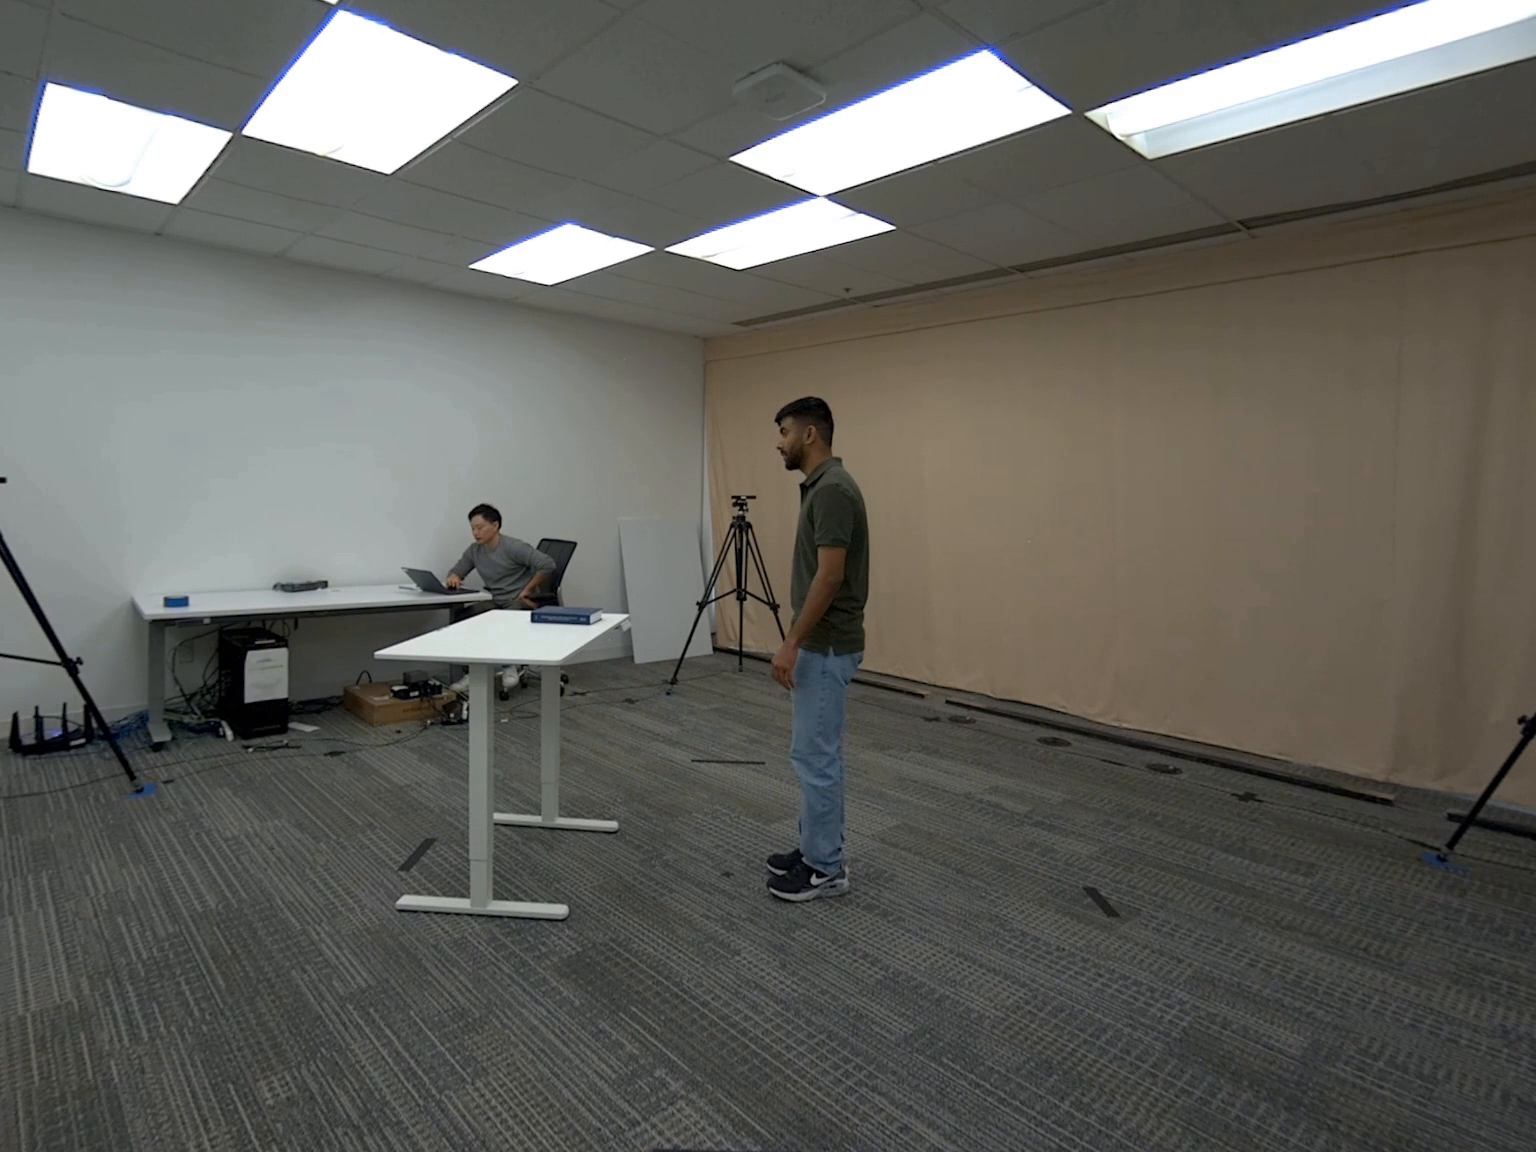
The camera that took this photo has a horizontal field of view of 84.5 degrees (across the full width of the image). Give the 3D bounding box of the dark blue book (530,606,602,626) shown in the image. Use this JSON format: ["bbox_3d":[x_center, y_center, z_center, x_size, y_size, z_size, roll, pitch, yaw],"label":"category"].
[{"bbox_3d":[-0.808,0.159,3.351,0.247,0.045,0.162,2,5,9],"label":"dark blue book"}]
